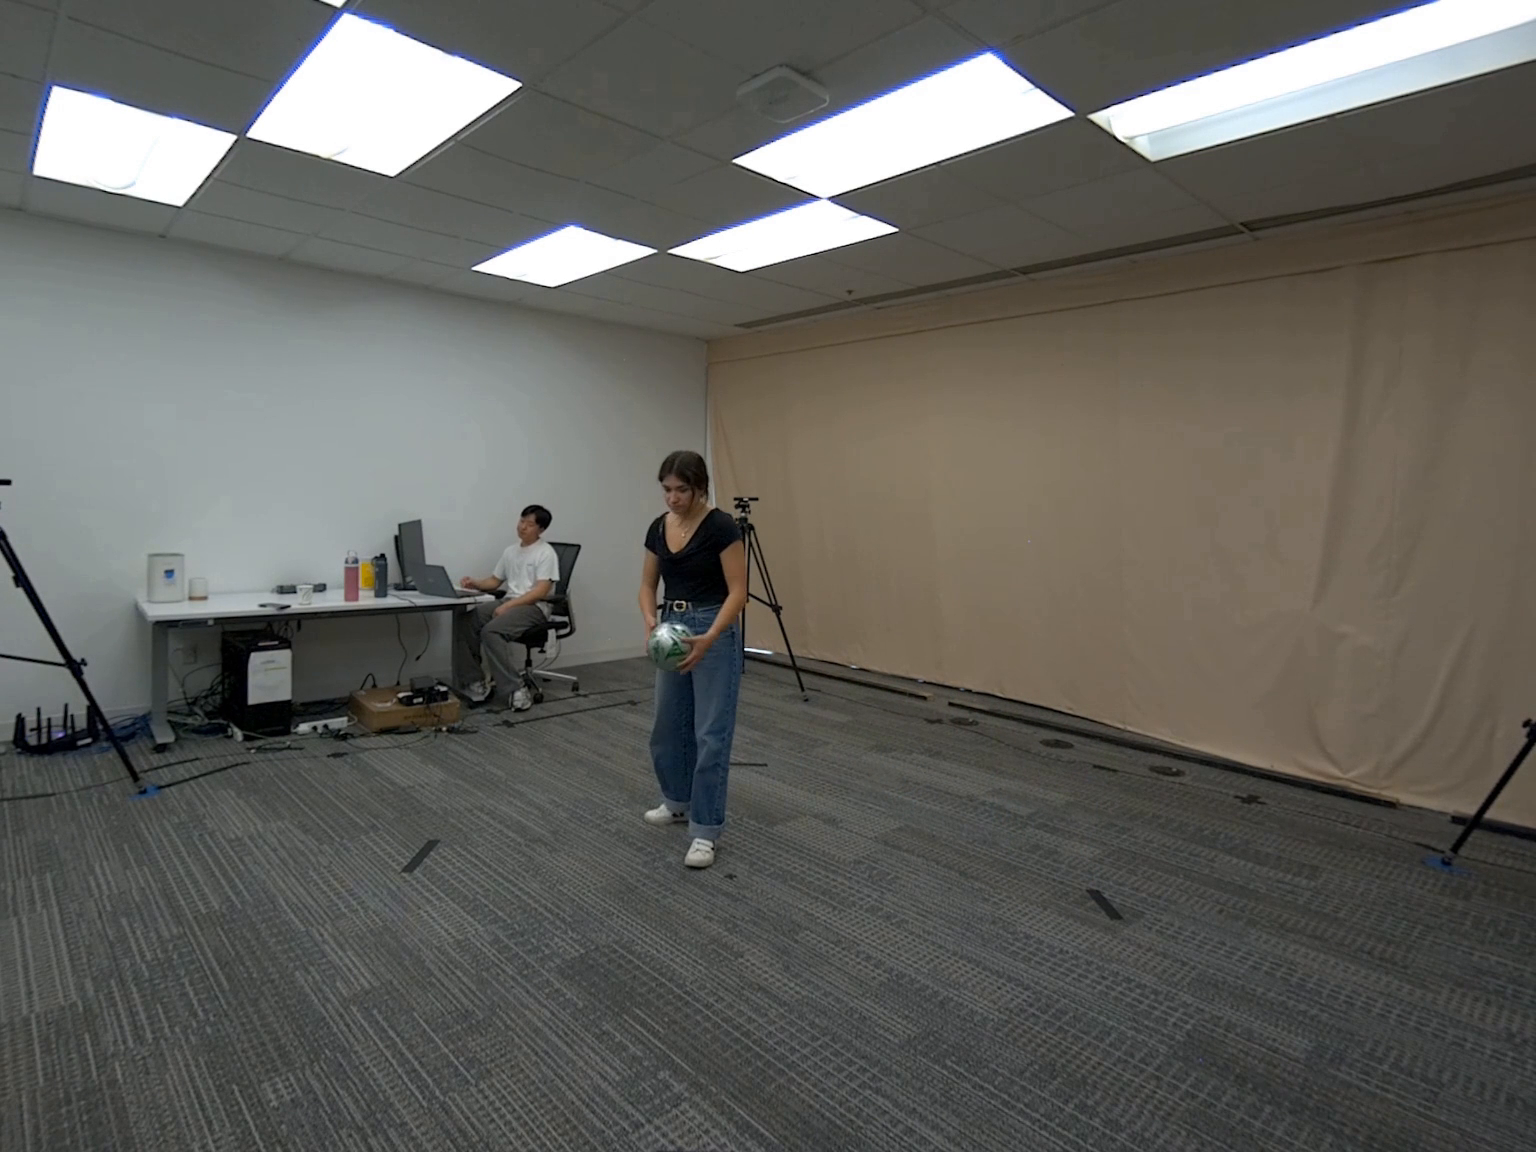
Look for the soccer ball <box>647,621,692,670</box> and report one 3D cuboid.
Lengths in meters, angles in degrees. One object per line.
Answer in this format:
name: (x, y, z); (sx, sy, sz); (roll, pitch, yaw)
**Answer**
soccer ball: (-0.359, 0.259, 3.129); (0.187, 0.187, 0.188); (1, 4, -1)
